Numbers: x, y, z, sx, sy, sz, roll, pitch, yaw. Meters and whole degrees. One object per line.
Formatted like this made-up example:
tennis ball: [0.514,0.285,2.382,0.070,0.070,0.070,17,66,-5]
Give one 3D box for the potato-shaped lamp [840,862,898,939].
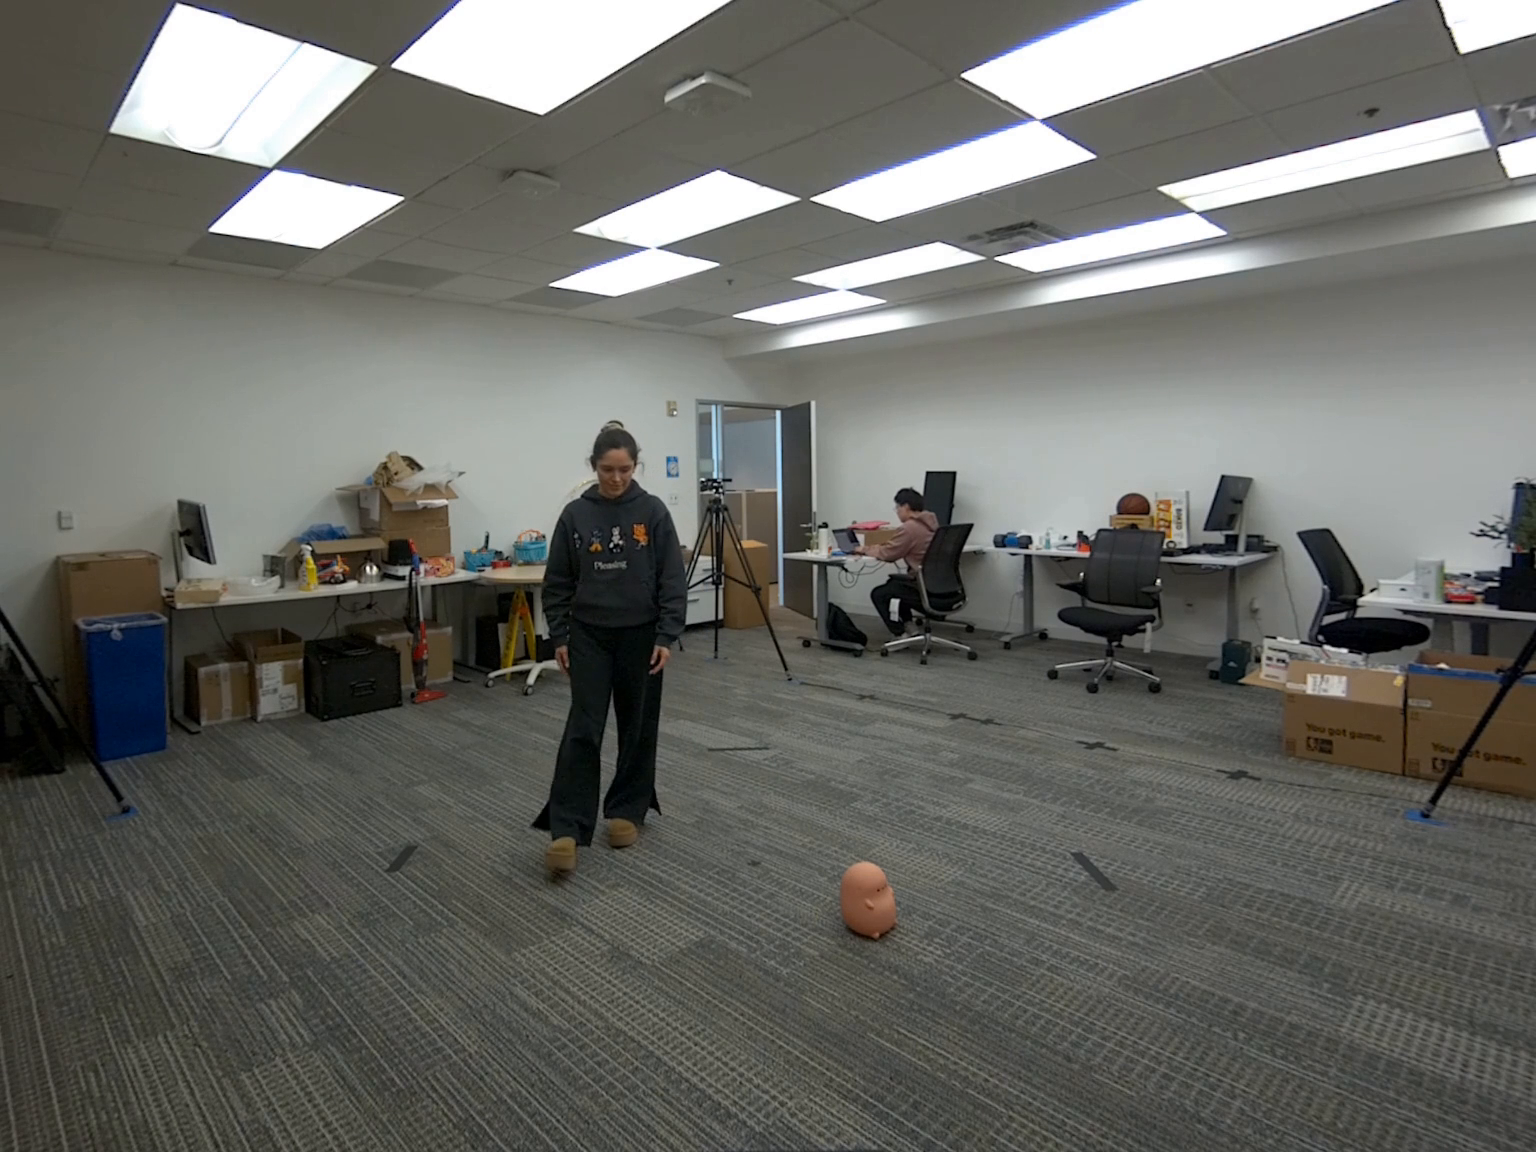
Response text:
potato-shaped lamp: [0.312,0.994,2.634,0.160,0.197,0.177,-9,9,-44]
